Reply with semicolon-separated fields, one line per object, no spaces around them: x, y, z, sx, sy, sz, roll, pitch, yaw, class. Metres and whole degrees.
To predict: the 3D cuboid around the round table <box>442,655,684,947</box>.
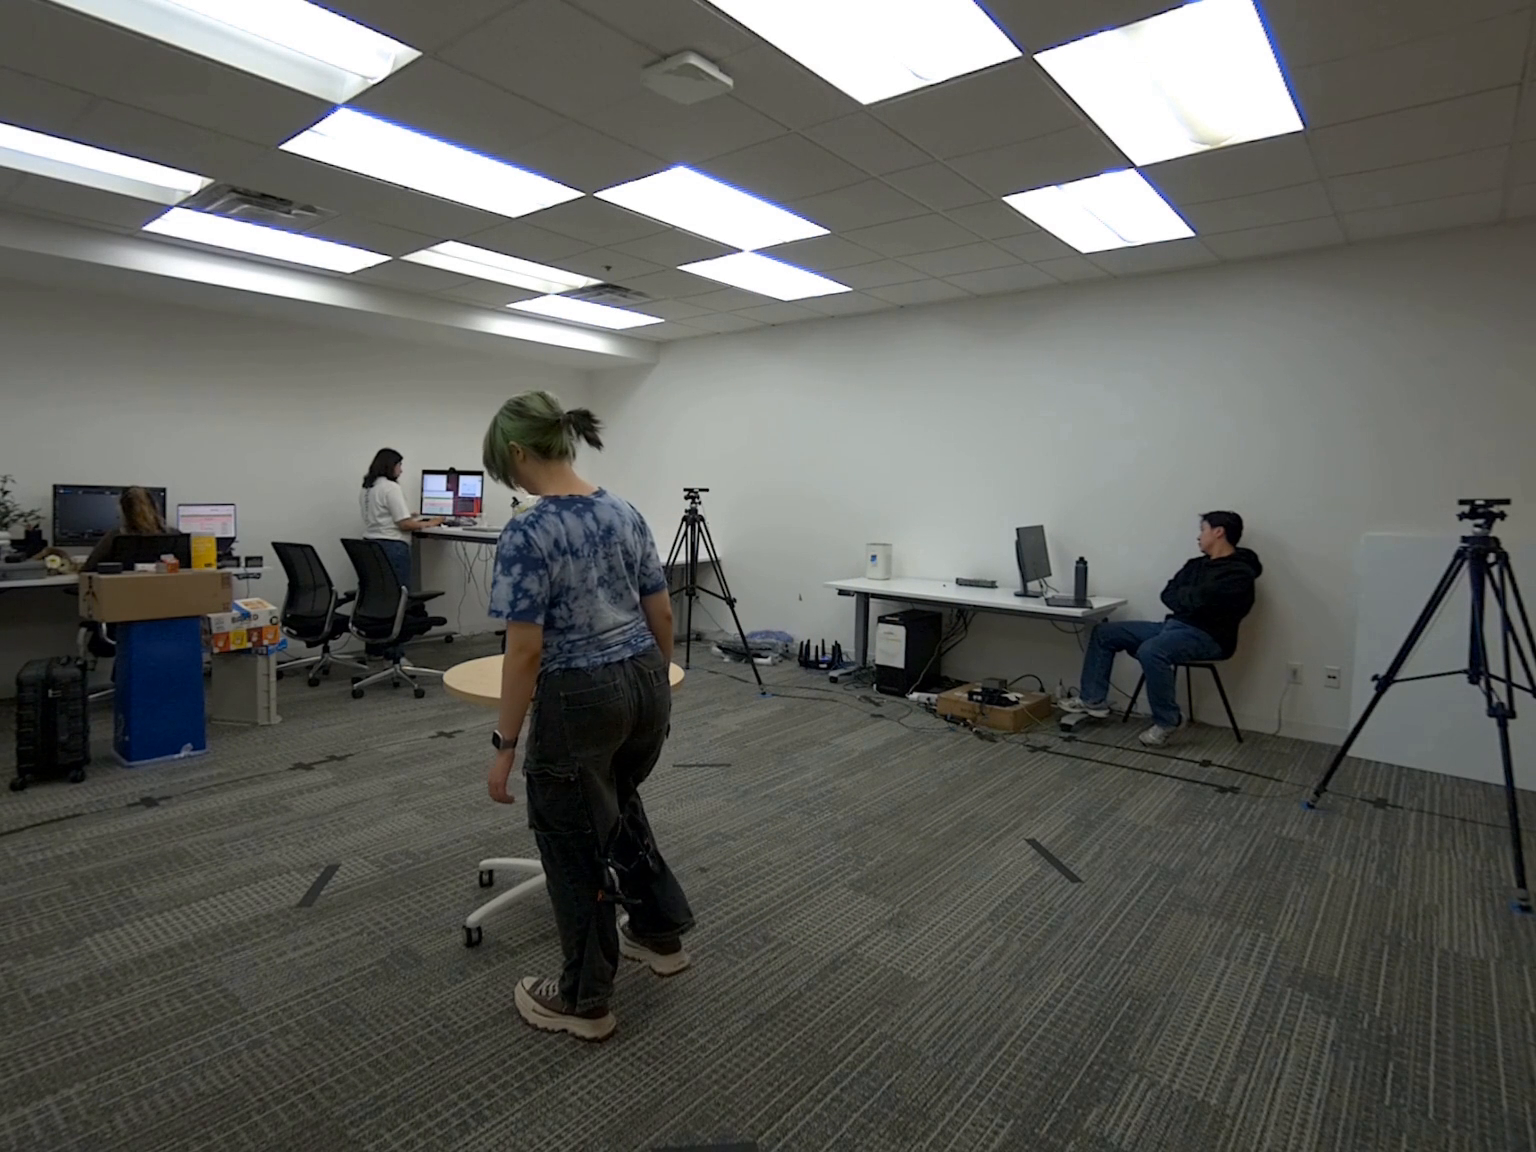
-0.674;0.703;2.776;0.763;0.791;0.768;0;4;-2;round table
